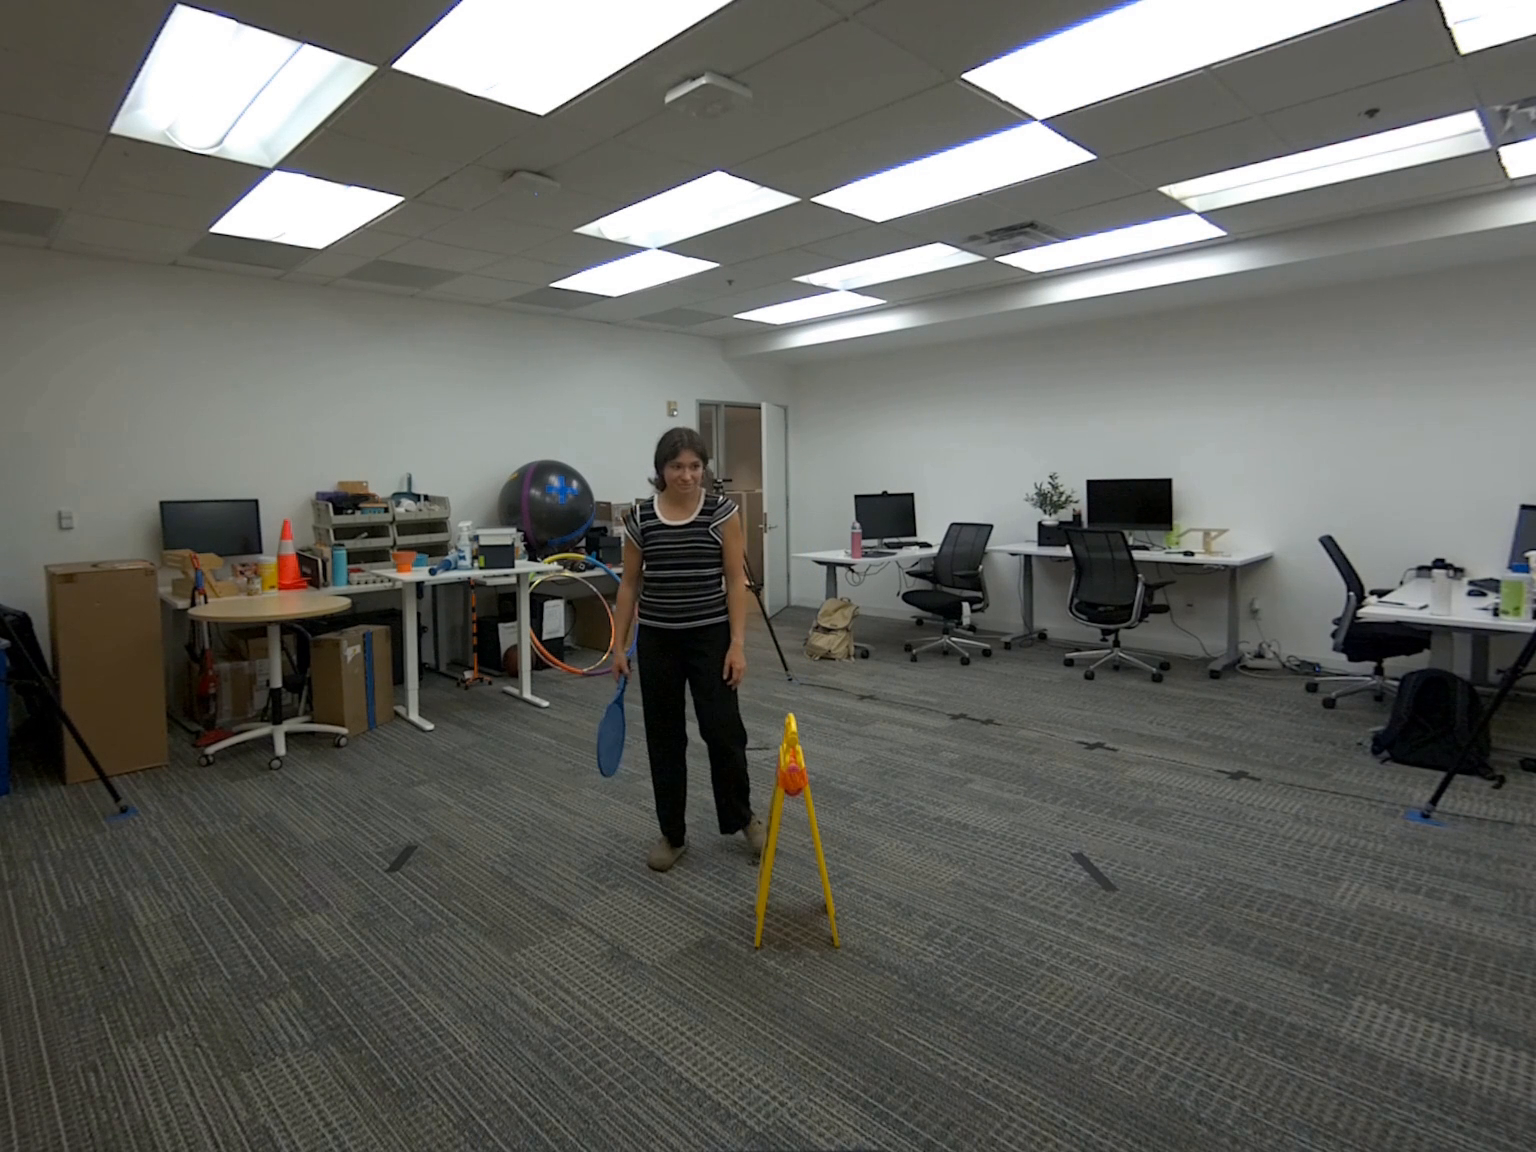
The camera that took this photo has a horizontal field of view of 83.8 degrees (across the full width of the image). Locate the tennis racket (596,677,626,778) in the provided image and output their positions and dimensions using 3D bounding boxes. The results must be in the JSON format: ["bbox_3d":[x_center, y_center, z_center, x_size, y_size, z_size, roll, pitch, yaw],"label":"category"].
[{"bbox_3d":[-0.531,0.495,3.001,0.032,0.442,0.207,1,-32,11],"label":"tennis racket"}]
